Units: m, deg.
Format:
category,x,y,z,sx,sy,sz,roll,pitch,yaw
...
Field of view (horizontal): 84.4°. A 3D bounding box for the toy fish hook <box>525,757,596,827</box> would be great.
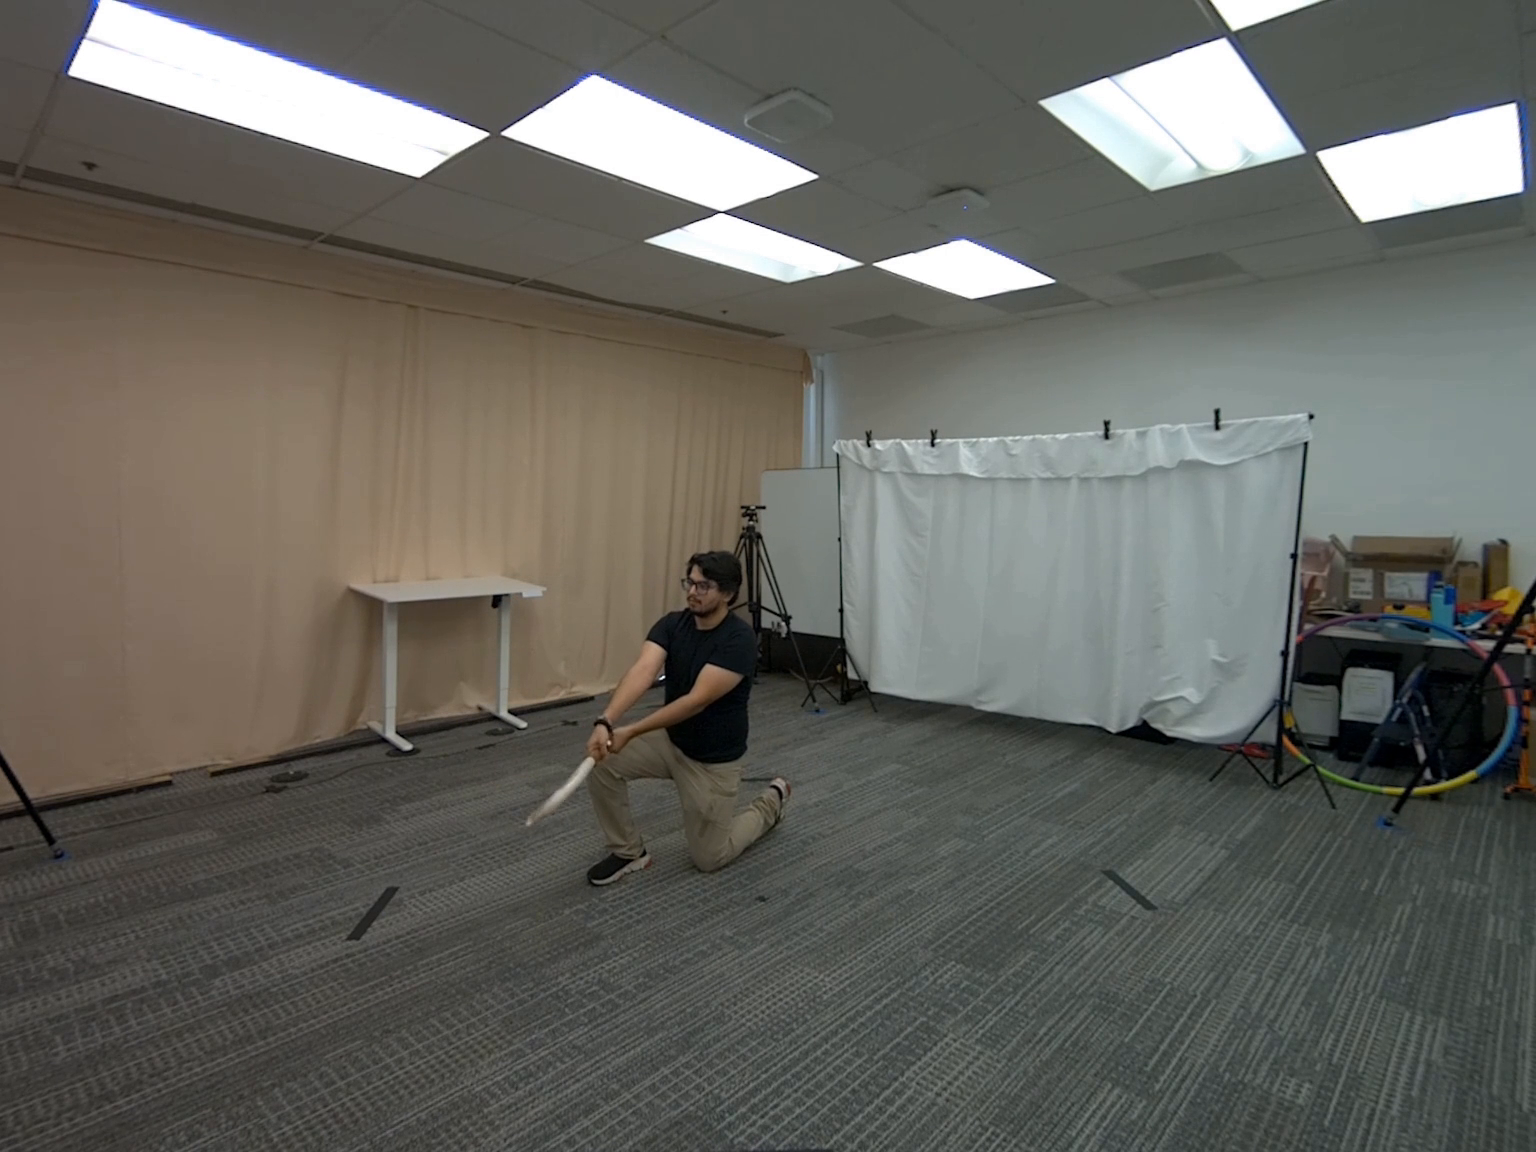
category,x,y,z,sx,sy,sz,roll,pitch,yaw
toy fish hook,-0.618,0.642,2.724,0.226,0.048,0.504,-36,5,18
